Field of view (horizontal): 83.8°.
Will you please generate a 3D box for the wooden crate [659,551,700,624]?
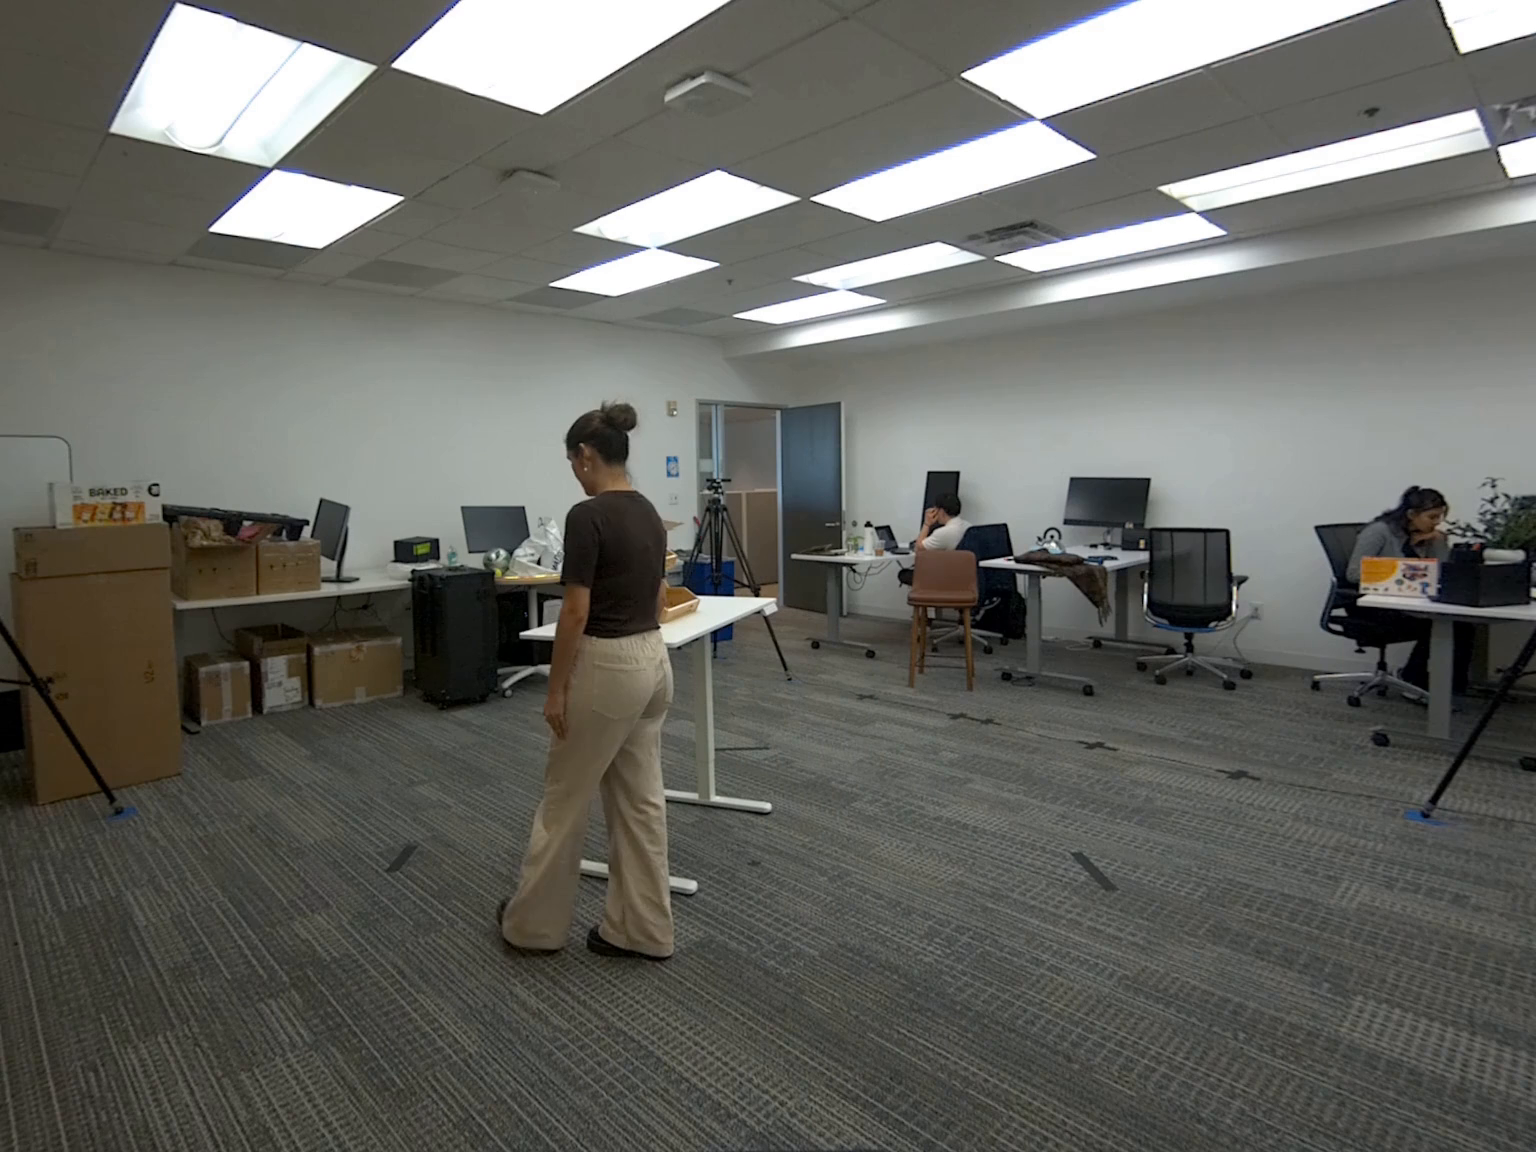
[{"bbox_3d":[-0.452,0.022,3.248,0.308,0.272,0.320,0,5,20],"label":"wooden crate"}]
